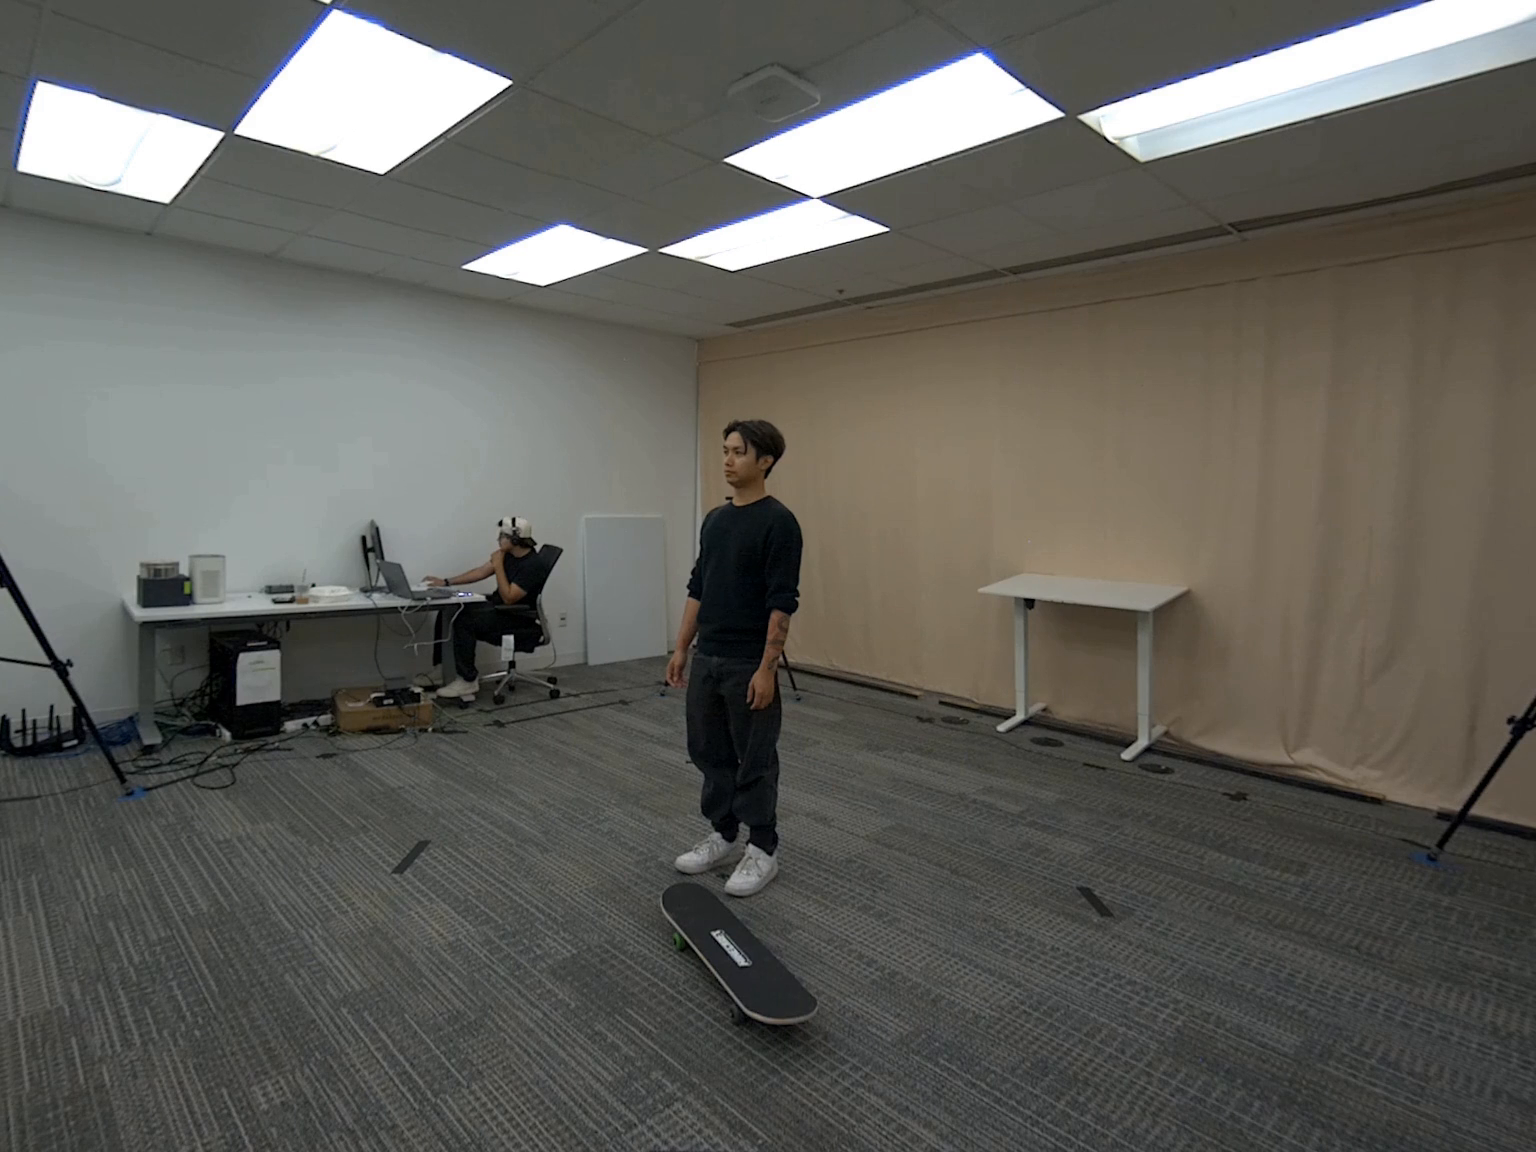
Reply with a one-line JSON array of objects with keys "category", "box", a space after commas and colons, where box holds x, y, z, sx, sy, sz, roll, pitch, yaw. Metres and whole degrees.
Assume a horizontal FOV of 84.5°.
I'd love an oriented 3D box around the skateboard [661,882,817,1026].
[{"category": "skateboard", "box": [-0.123, 1.115, 2.445, 0.190, 0.110, 0.803, -2, 6, -28]}]
